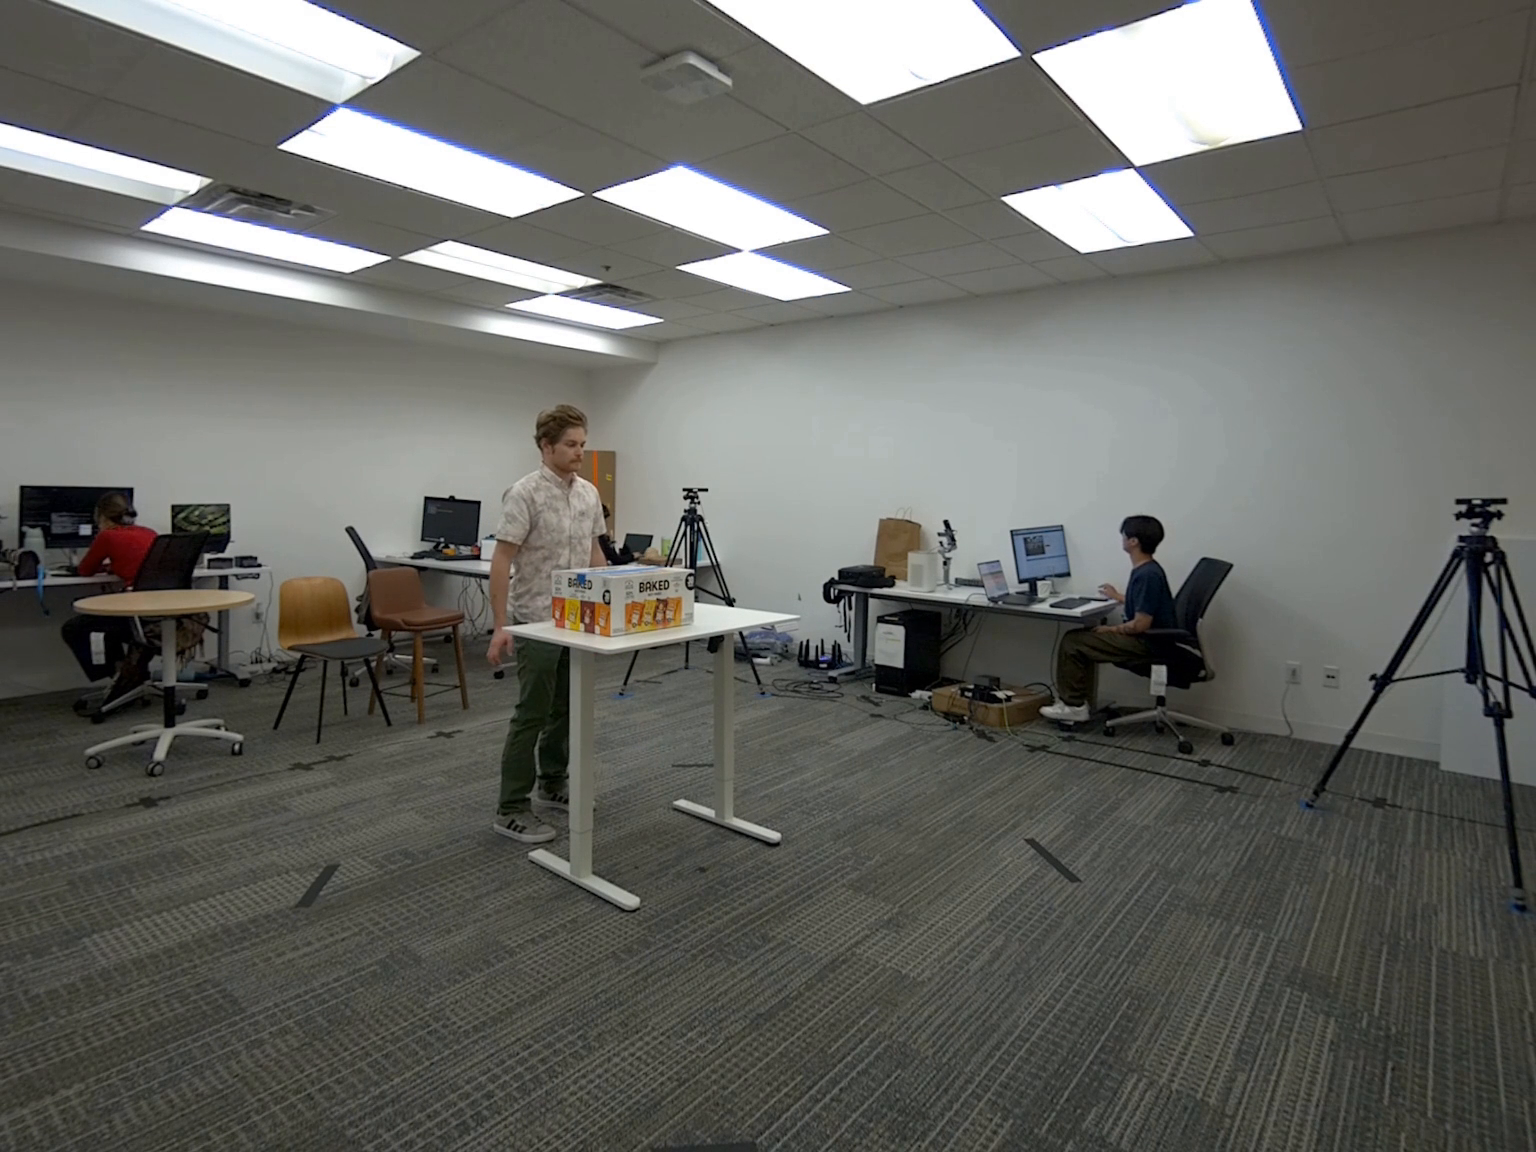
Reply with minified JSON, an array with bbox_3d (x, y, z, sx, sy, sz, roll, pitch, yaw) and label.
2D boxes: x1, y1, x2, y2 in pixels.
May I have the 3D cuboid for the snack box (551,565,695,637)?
[{"bbox_3d":[-0.542,0.079,3.127,0.352,0.205,0.393,5,7,40],"label":"snack box"}]
